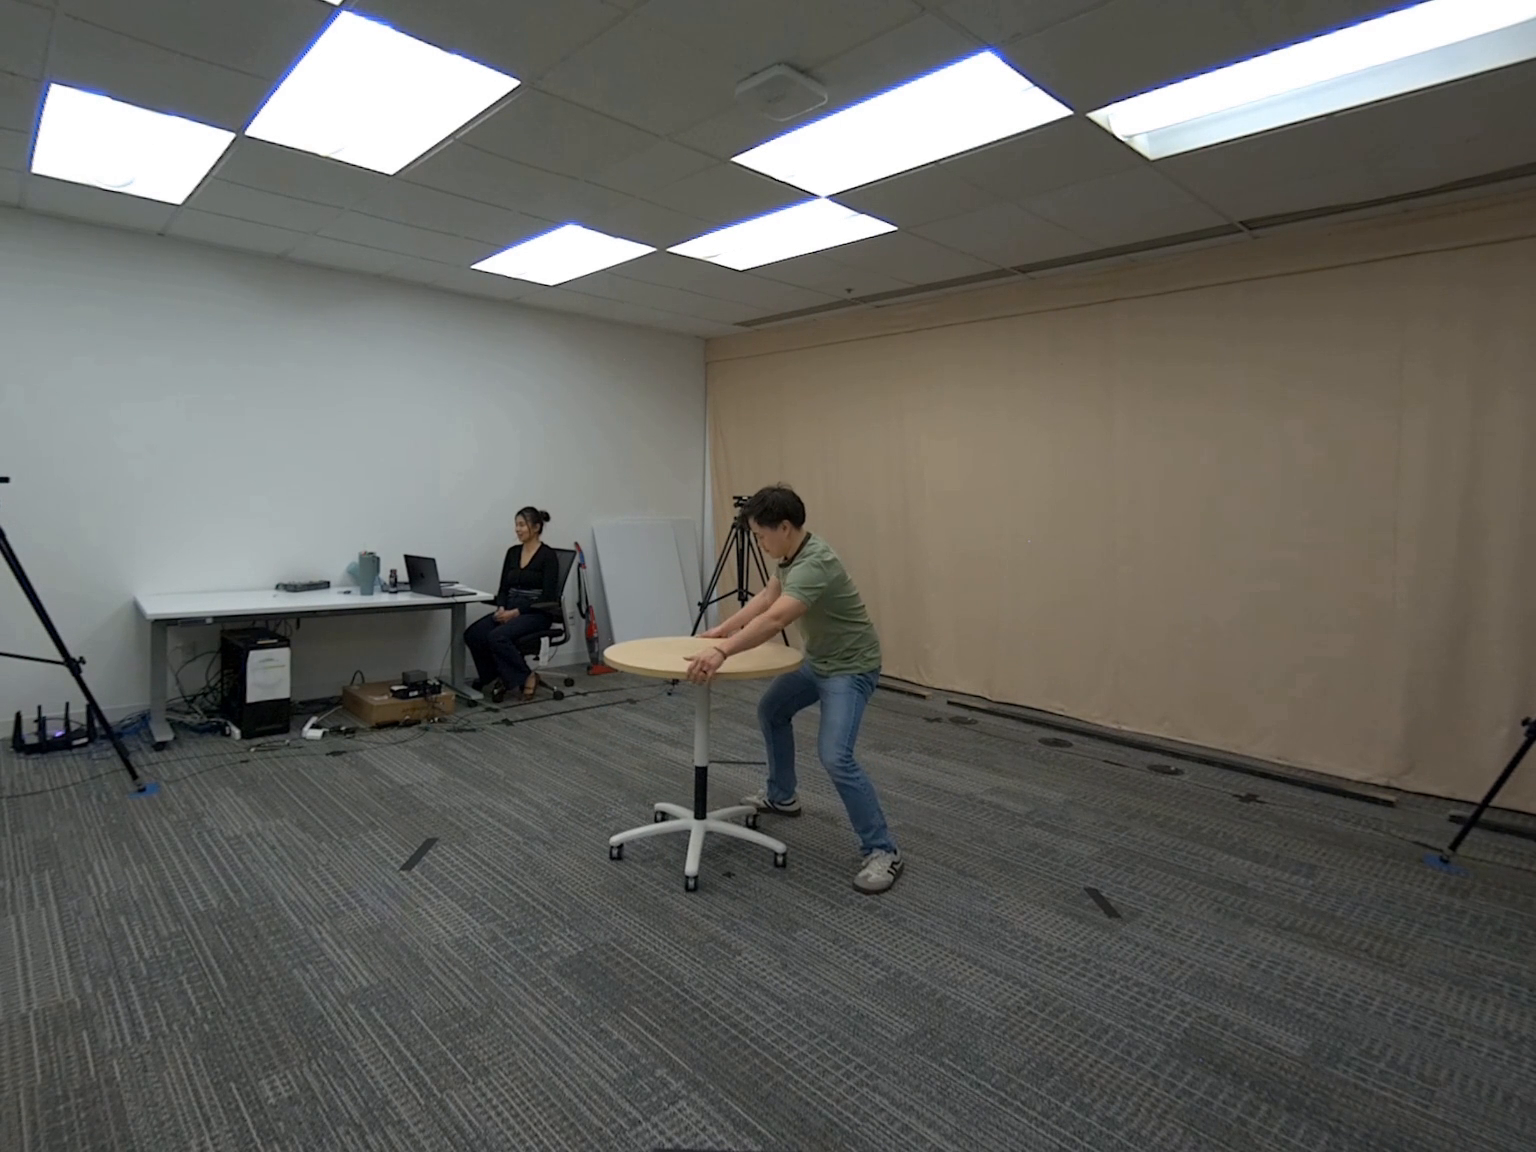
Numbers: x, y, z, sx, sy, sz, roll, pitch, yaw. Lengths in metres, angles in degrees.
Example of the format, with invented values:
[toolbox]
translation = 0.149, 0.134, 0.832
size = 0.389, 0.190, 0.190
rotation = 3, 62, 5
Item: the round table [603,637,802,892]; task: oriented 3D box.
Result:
[round table]
translation = -0.263, 0.693, 3.263
size = 0.763, 0.792, 0.766
rotation = 1, 4, -1
